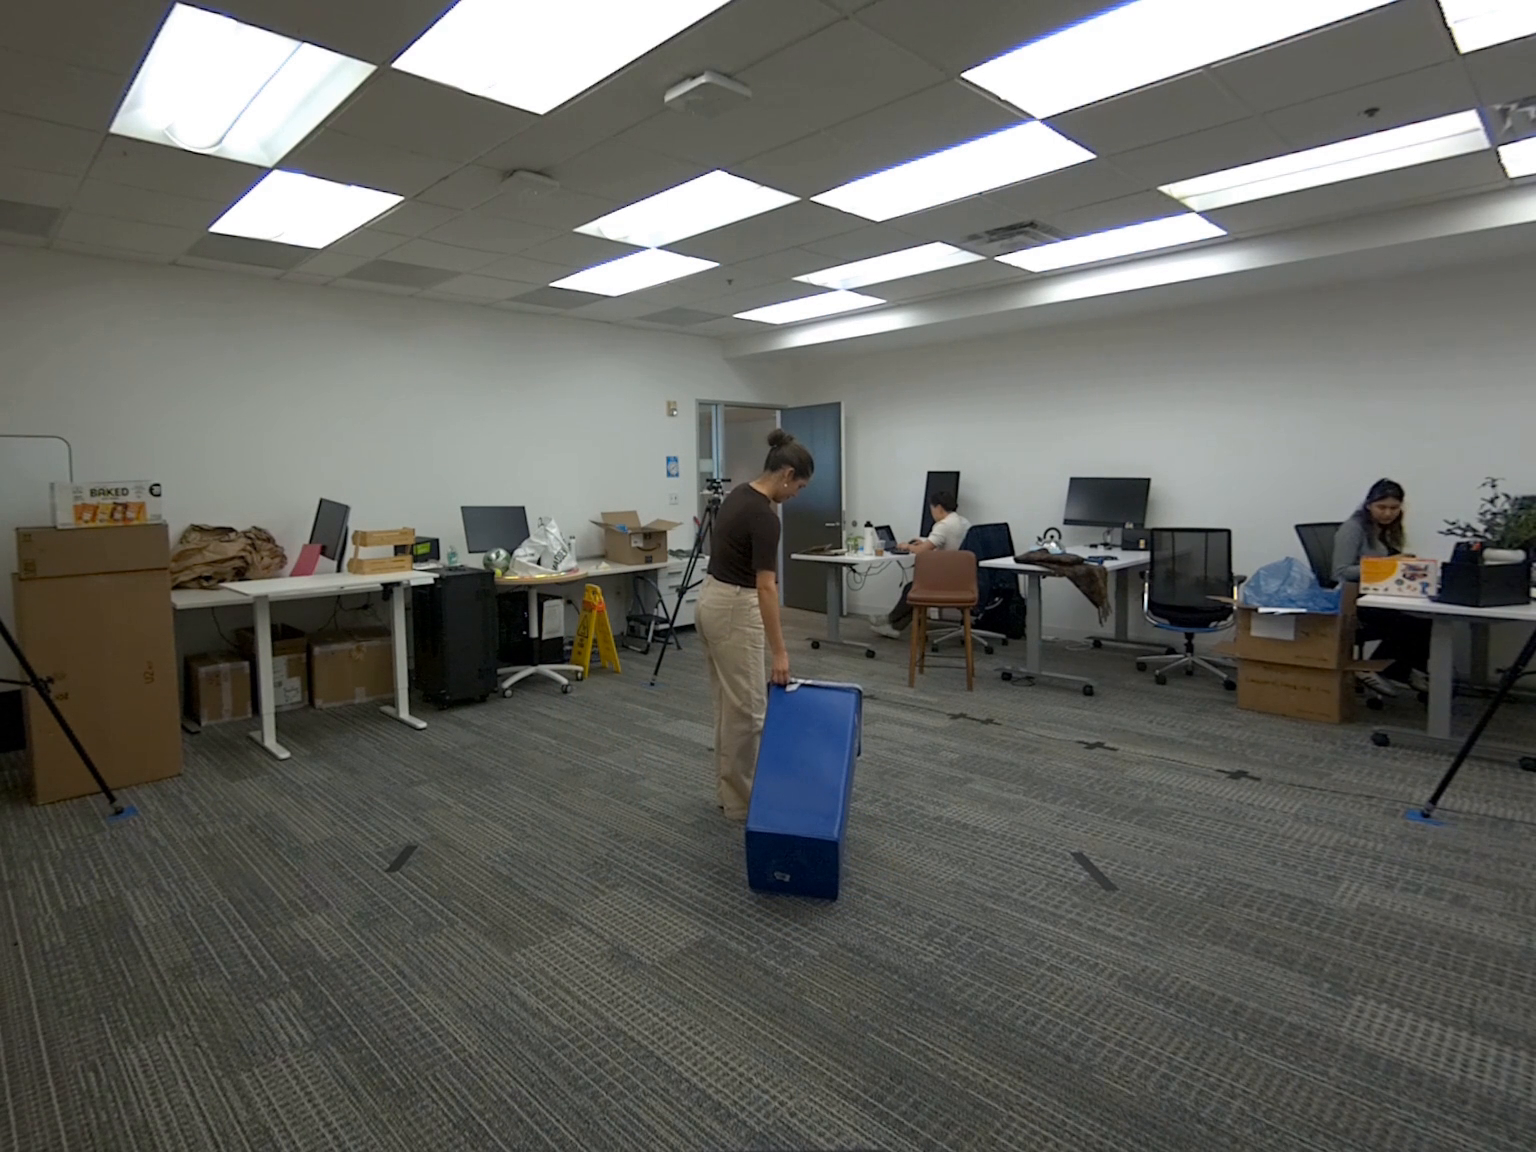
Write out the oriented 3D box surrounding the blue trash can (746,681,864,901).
[{"bbox_3d":[0.143,0.748,3.070,0.382,0.364,0.725,2,33,8],"label":"blue trash can"}]
